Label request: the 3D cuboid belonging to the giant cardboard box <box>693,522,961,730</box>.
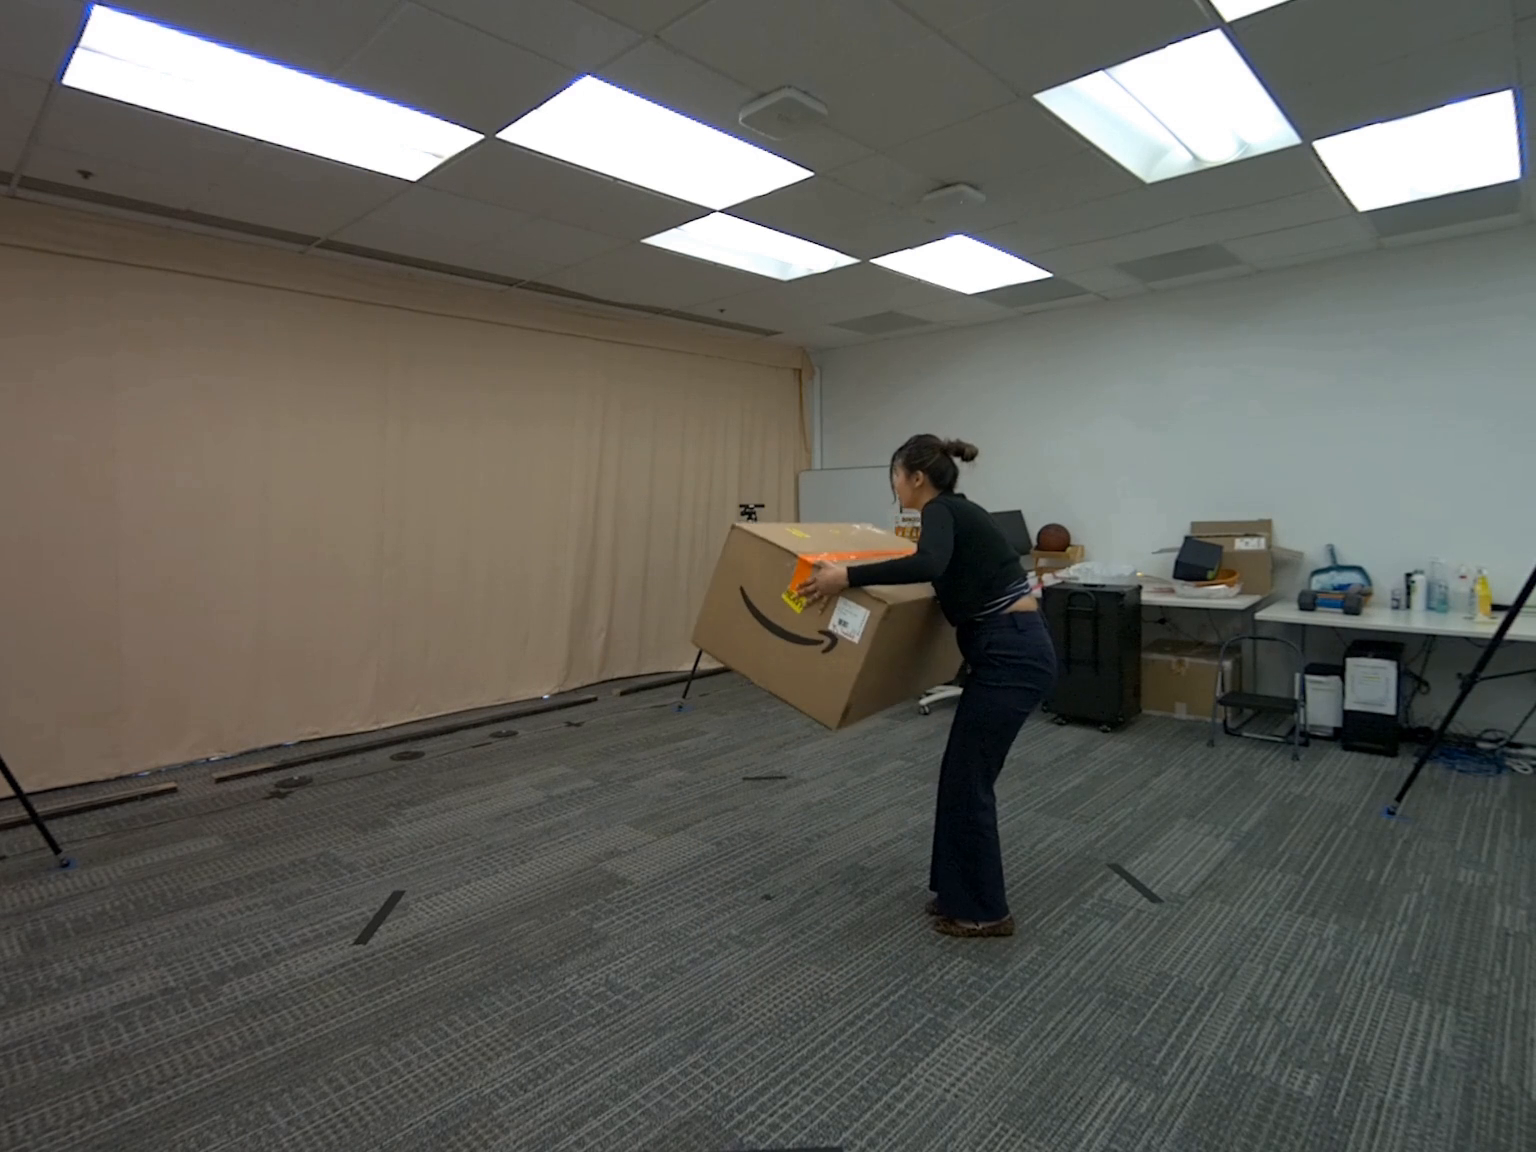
[{"bbox_3d":[0.305,0.107,2.957,0.596,0.425,0.996,29,17,29],"label":"giant cardboard box"}]
